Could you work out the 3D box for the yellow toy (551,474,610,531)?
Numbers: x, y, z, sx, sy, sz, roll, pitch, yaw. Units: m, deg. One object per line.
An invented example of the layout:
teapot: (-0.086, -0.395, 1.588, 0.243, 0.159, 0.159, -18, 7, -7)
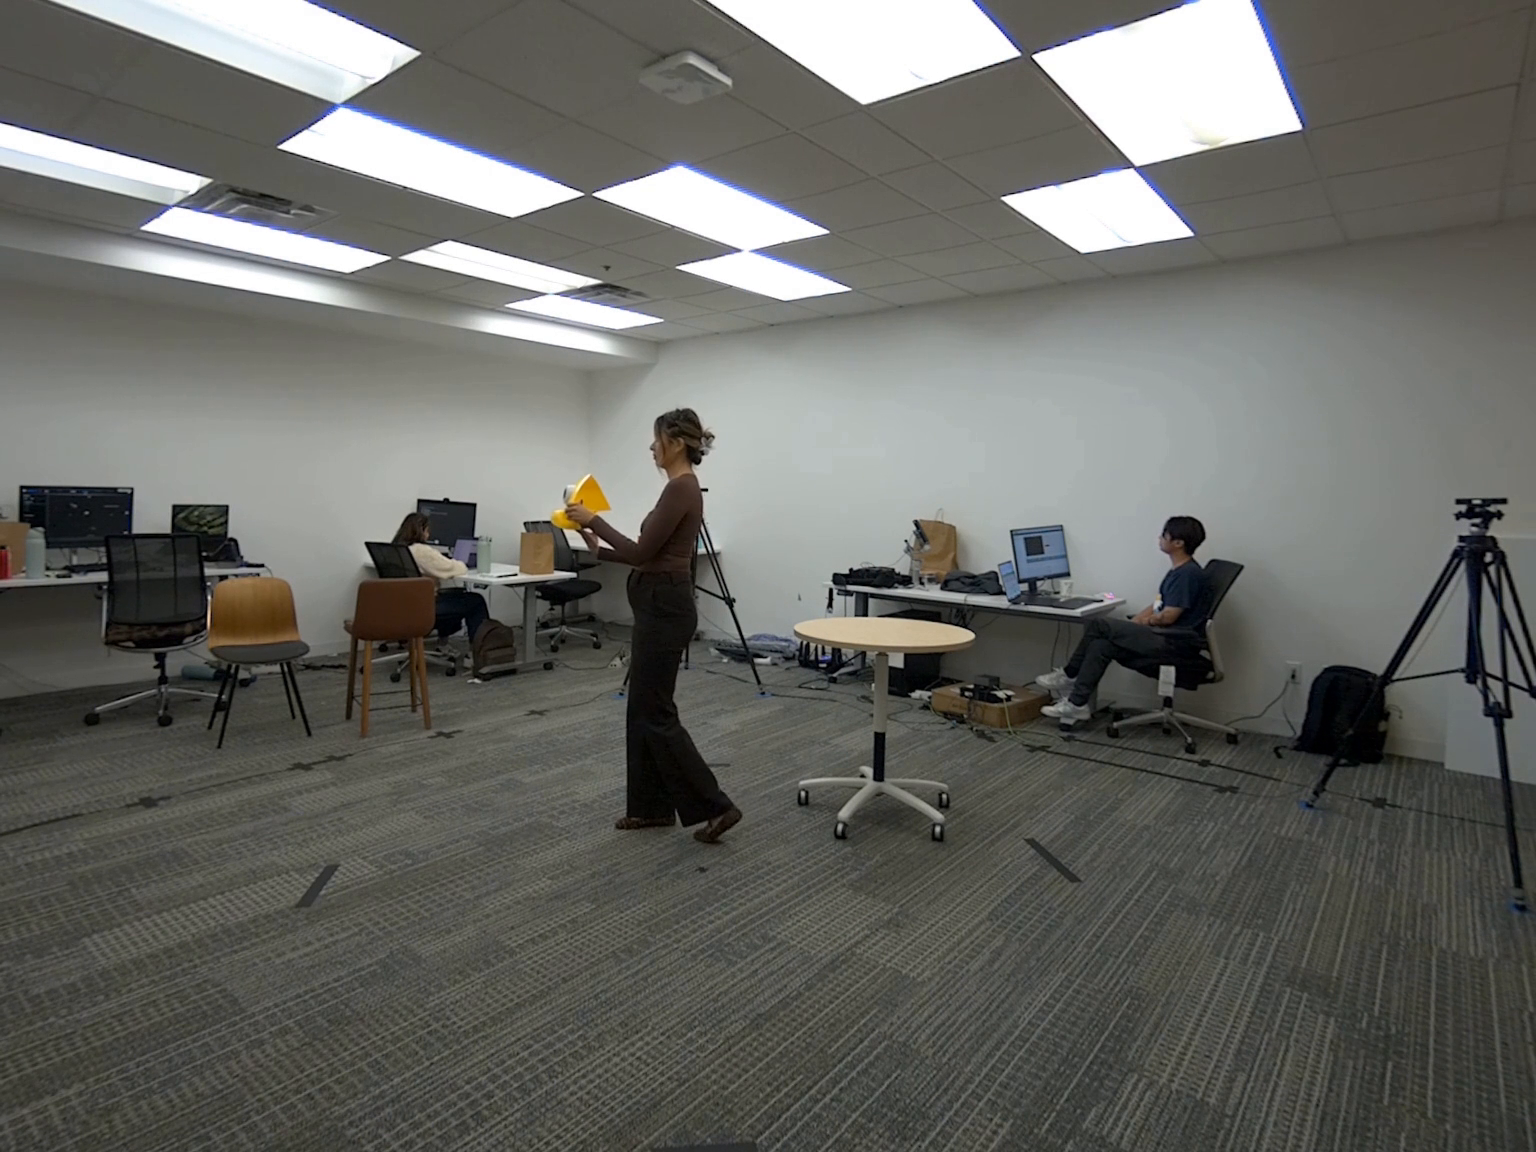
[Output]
yellow toy: (-0.786, -0.325, 3.488, 0.199, 0.228, 0.201, -8, 25, -44)
